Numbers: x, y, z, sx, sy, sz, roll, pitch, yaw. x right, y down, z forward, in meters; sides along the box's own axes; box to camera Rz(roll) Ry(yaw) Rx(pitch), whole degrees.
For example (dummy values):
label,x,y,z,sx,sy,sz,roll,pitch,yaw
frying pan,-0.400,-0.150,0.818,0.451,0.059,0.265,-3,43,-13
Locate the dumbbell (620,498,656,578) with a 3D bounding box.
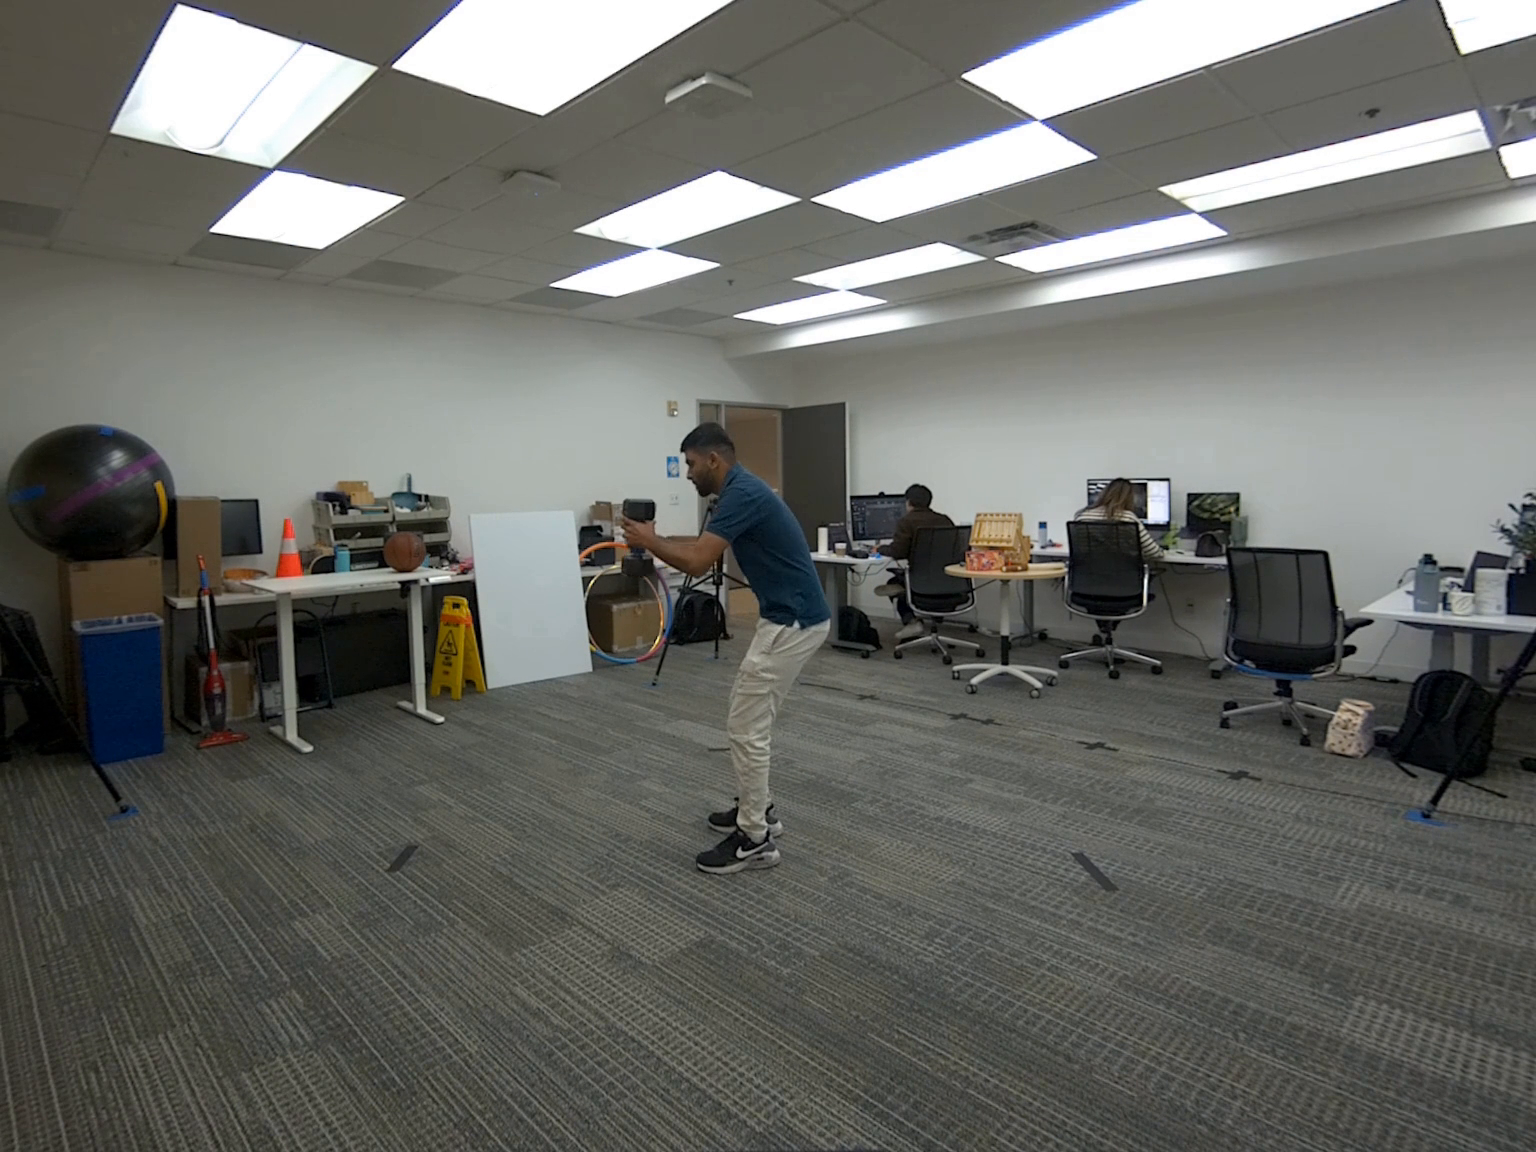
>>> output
label,x,y,z,sx,sy,sz,roll,pitch,yaw
dumbbell,-0.483,-0.142,3.217,0.111,0.292,0.120,3,5,27
